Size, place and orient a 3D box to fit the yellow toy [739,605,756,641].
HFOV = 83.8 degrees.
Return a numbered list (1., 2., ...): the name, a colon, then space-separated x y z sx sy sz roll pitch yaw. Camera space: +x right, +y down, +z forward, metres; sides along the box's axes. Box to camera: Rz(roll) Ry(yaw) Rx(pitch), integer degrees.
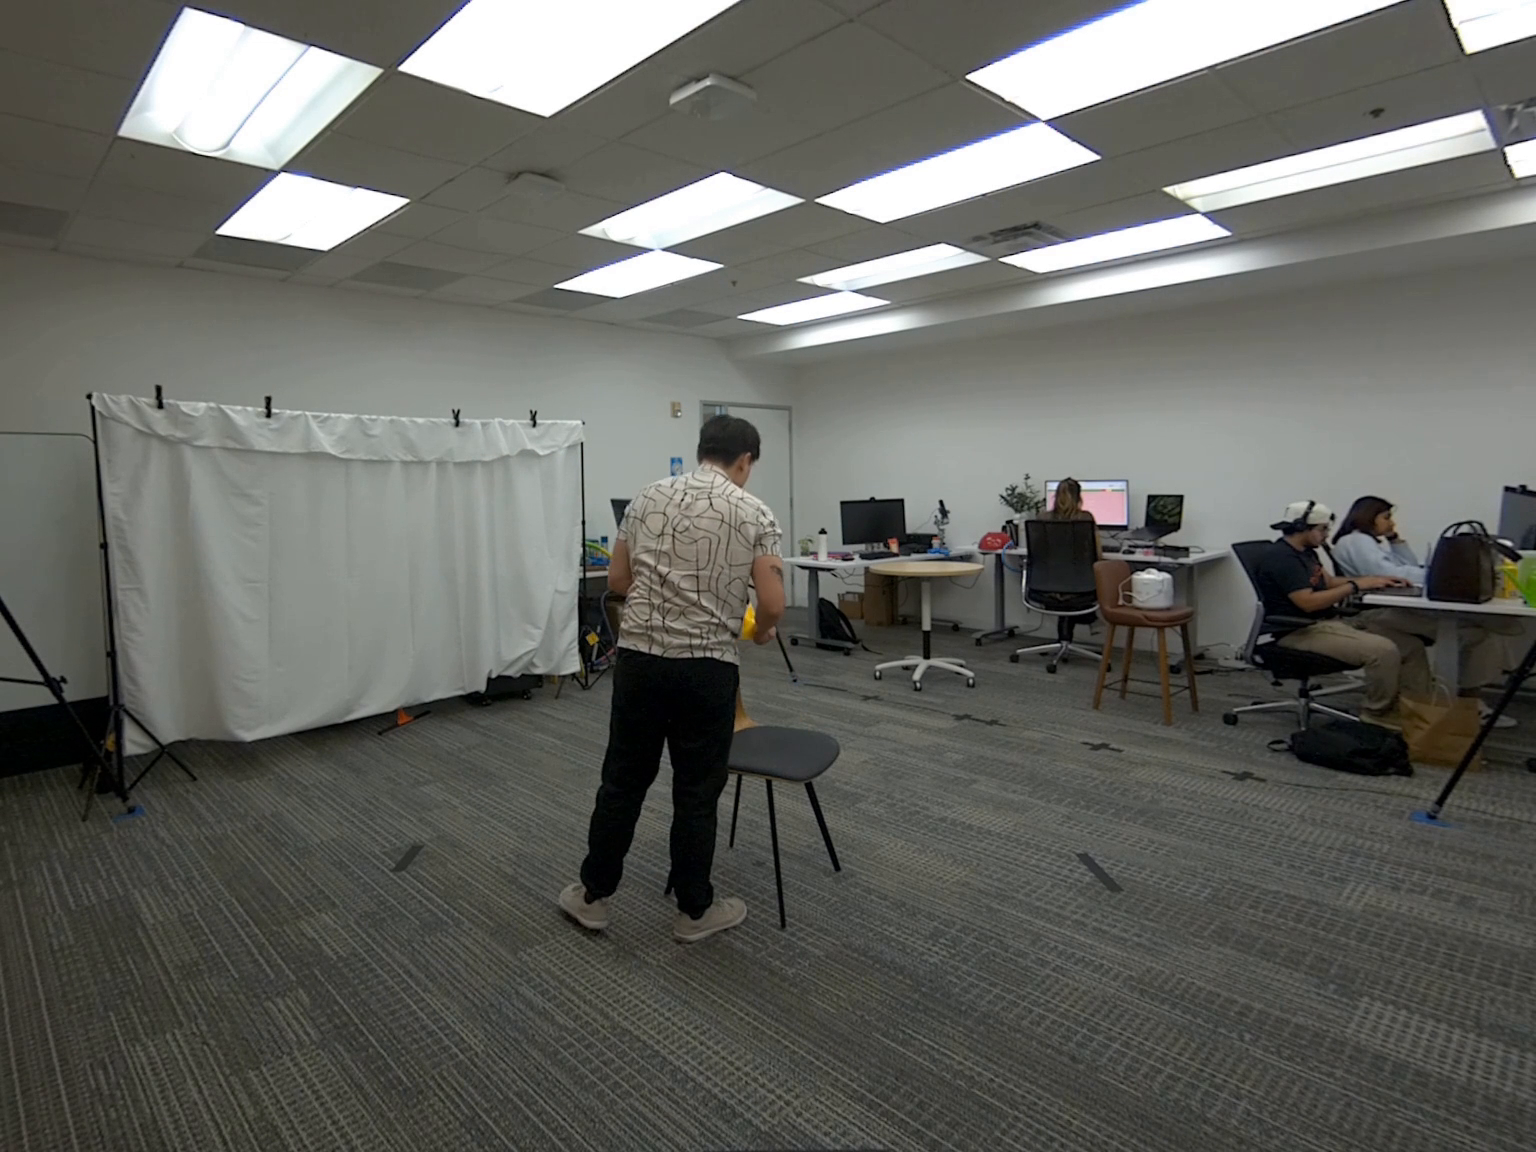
1. yellow toy: -0.116 0.091 2.850 0.188 0.230 0.210 -7 4 -36
